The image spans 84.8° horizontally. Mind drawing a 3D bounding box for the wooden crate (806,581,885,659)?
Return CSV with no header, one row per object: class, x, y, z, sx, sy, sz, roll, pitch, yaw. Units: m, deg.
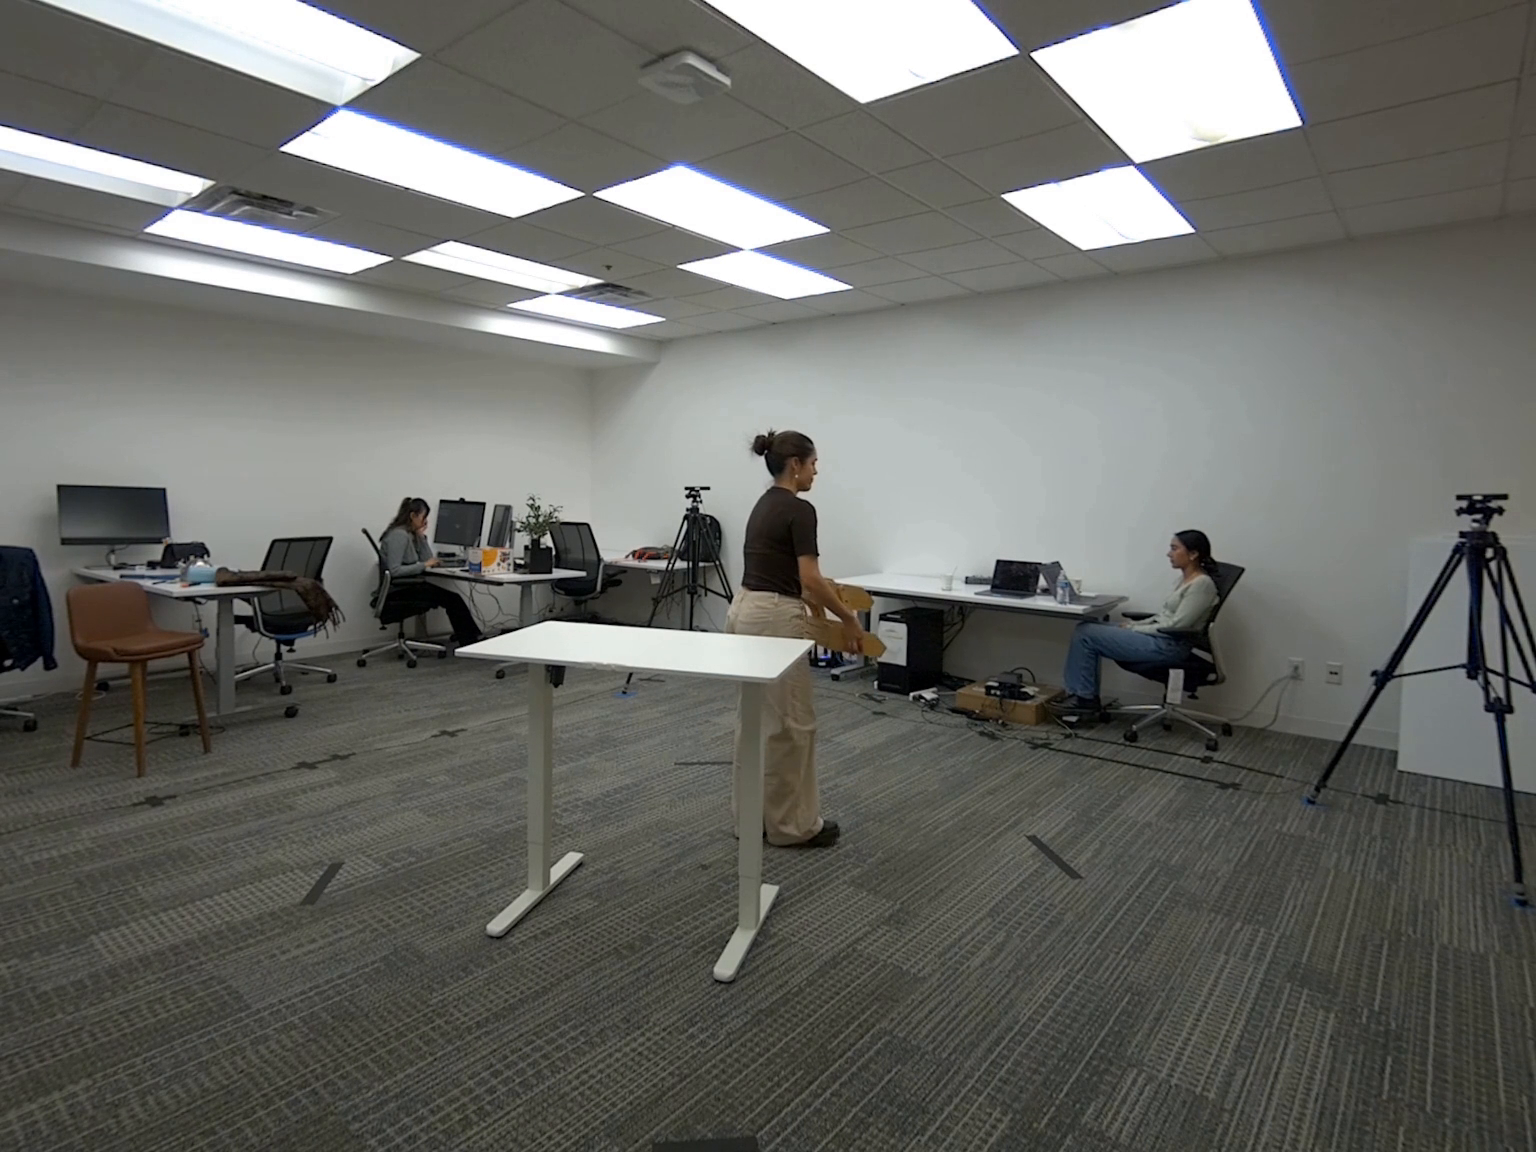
wooden crate,0.297,0.155,3.439,0.296,0.273,0.331,10,1,-17
